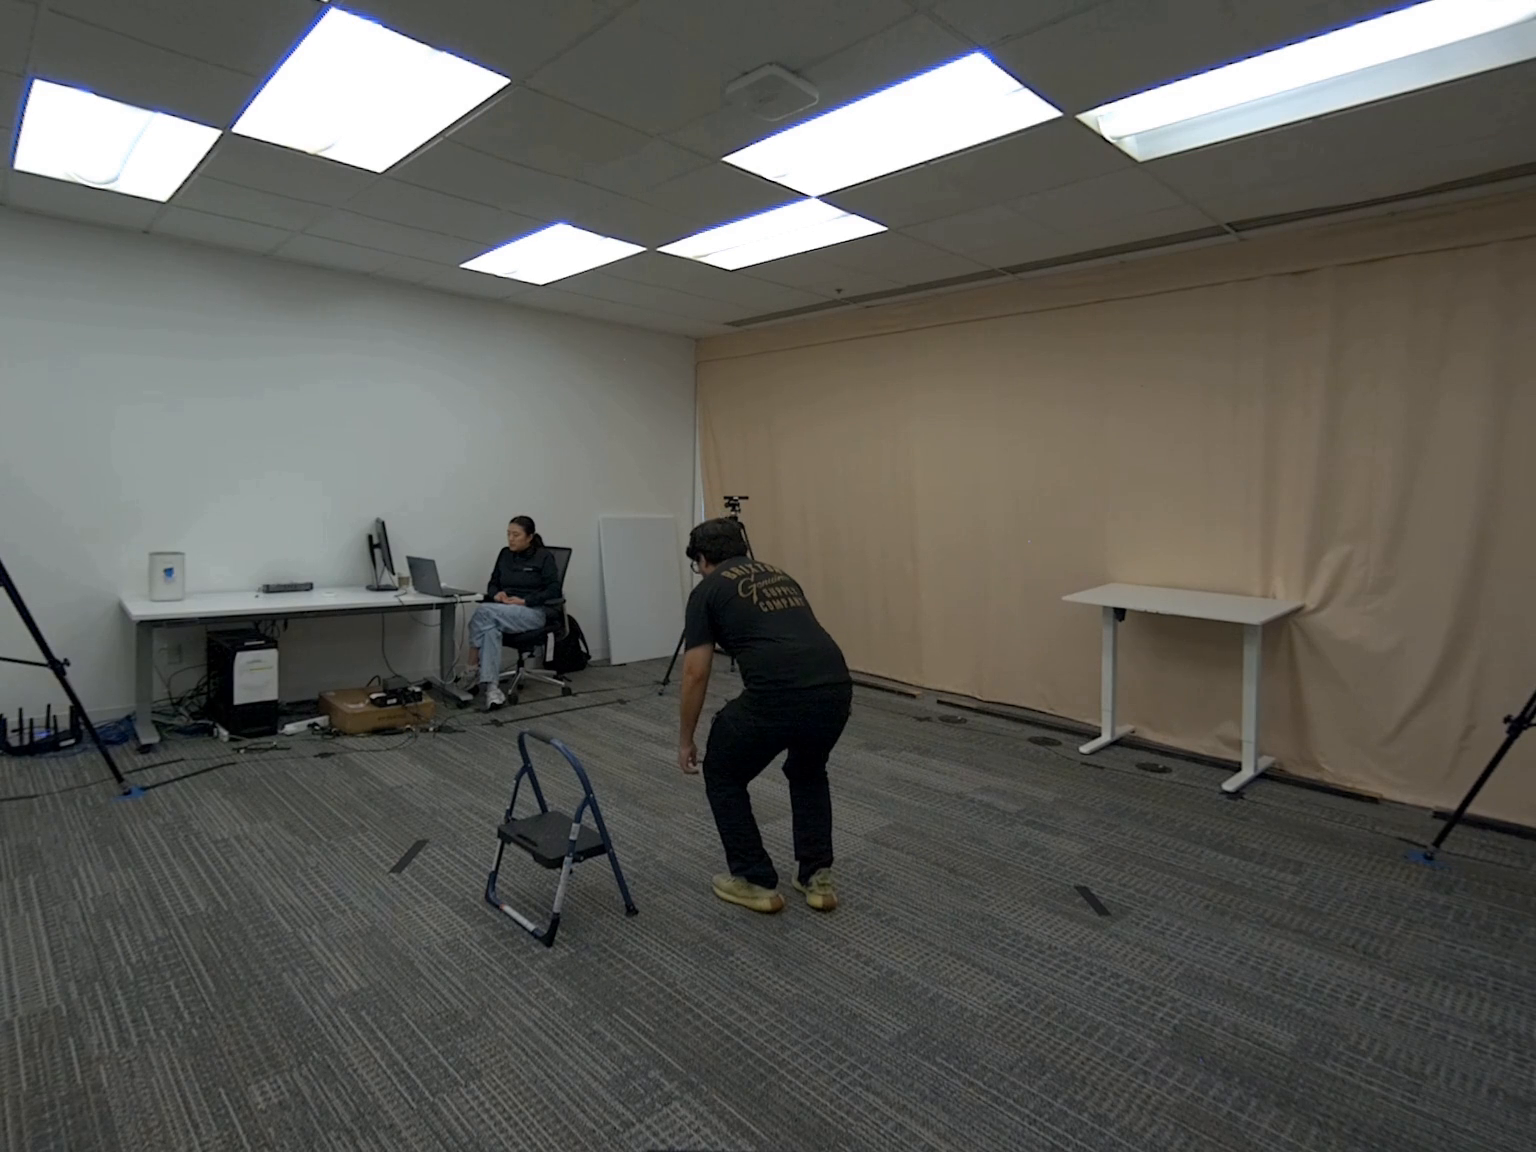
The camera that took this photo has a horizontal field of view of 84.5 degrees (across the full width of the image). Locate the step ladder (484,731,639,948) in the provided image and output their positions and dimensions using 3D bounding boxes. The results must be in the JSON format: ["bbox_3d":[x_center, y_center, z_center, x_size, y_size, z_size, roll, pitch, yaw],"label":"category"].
[{"bbox_3d":[-0.702,0.820,2.823,0.441,0.605,0.341,4,4,44],"label":"step ladder"}]
